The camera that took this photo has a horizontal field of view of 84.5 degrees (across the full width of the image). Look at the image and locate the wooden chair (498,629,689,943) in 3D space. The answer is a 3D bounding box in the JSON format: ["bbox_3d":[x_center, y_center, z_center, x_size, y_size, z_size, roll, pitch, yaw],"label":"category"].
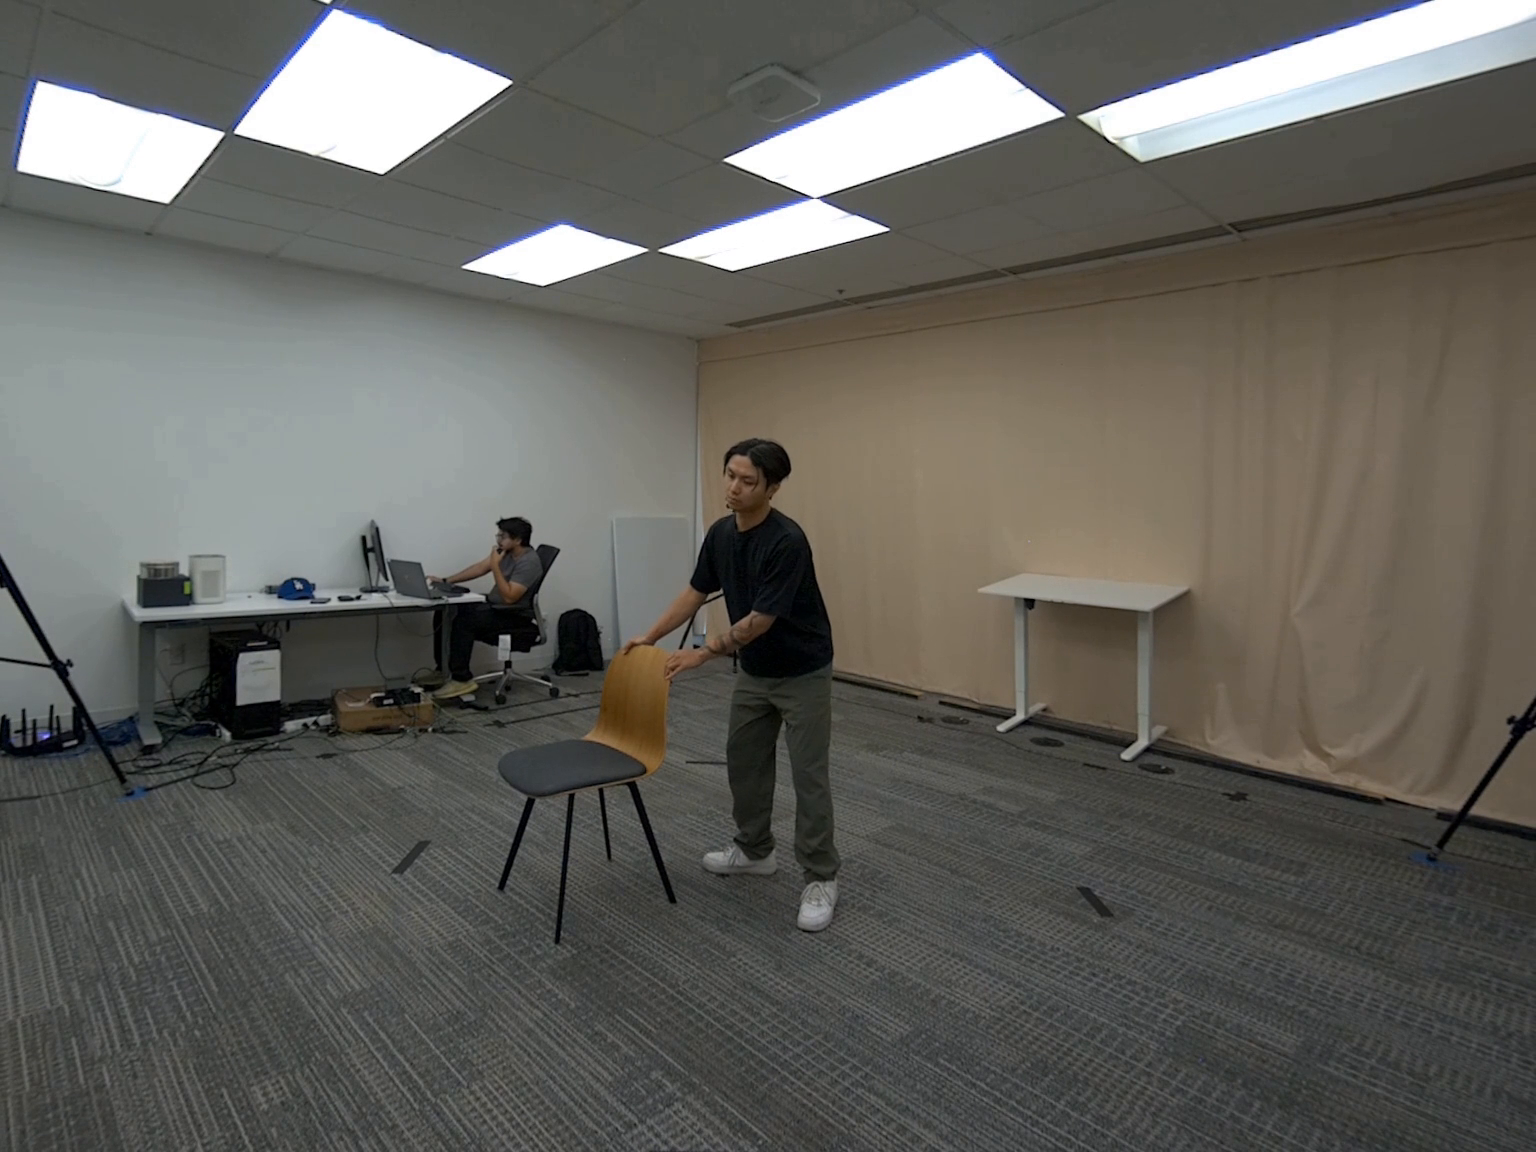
[{"bbox_3d":[-0.628,0.685,2.877,0.510,0.877,0.490,4,2,-40],"label":"wooden chair"}]
